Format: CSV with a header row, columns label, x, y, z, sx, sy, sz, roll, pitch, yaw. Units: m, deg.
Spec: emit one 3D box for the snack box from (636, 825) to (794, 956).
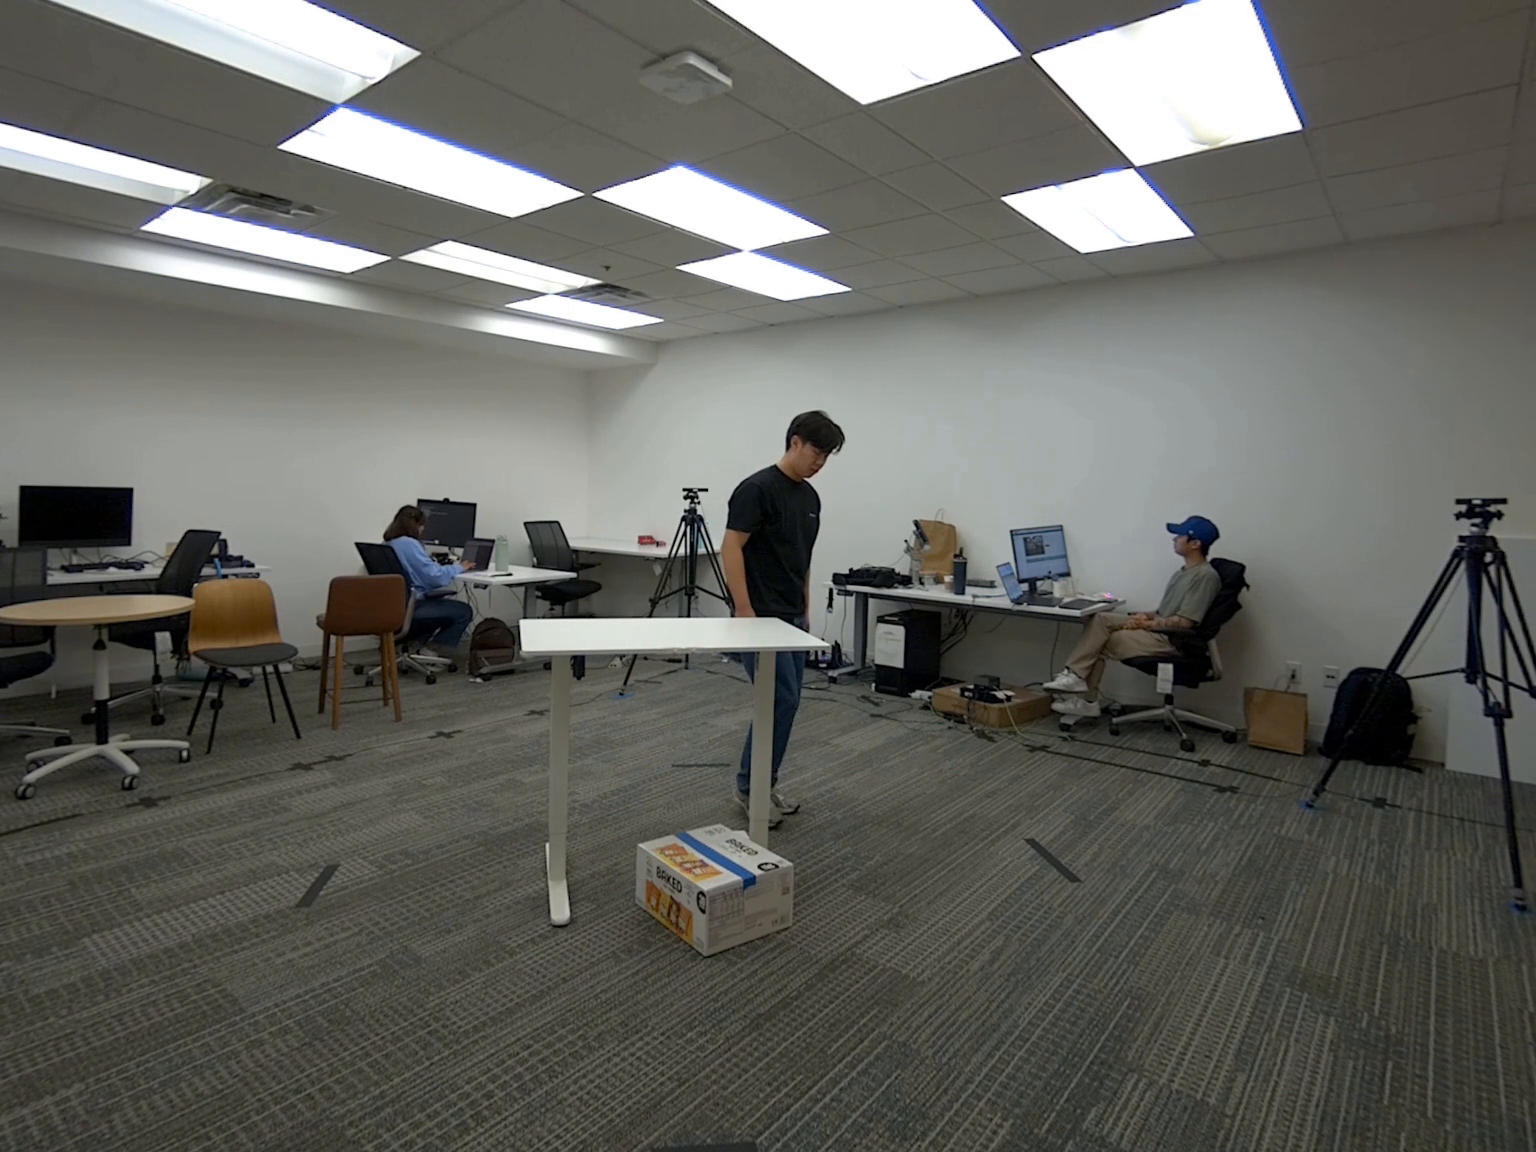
label,x,y,z,sx,sy,sz,roll,pitch,yaw
snack box,-0.186,1.002,2.762,0.330,0.205,0.419,-2,6,-37
